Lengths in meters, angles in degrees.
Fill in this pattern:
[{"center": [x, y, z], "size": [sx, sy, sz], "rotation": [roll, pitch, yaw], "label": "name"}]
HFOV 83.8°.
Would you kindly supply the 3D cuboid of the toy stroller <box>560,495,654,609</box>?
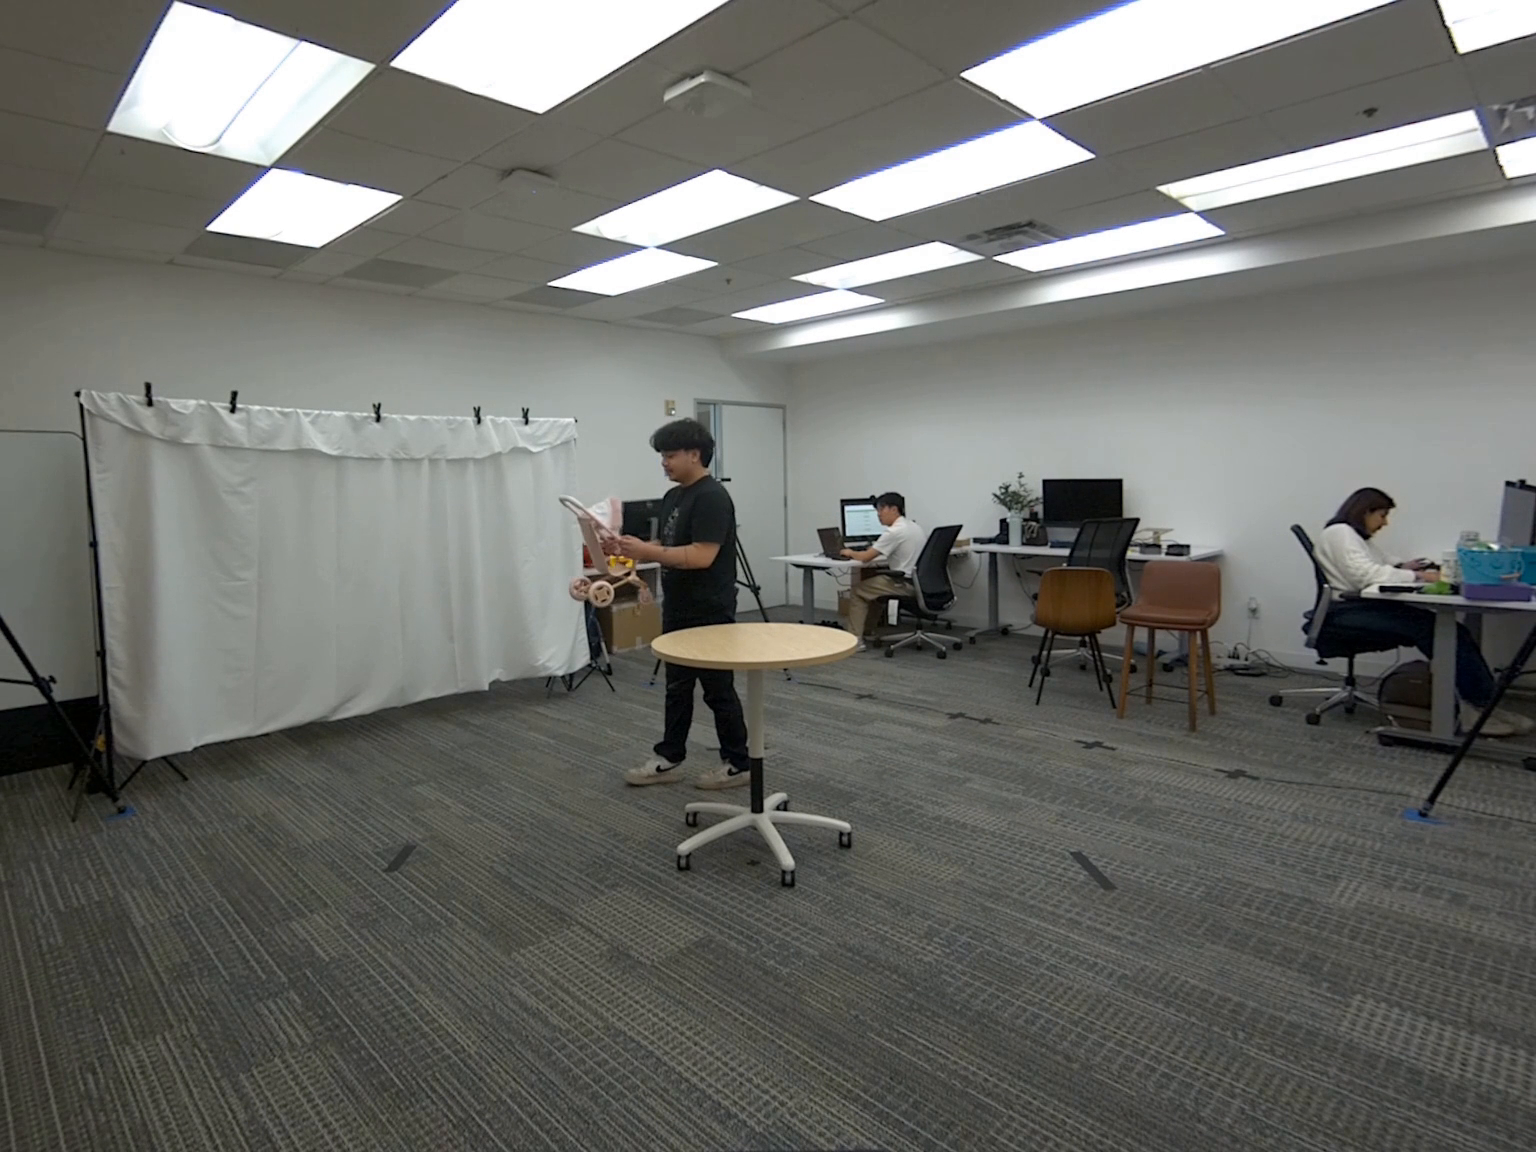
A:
[{"center": [-0.688, -0.105, 3.693], "size": [0.335, 0.532, 0.288], "rotation": [-10, 7, -25], "label": "toy stroller"}]
